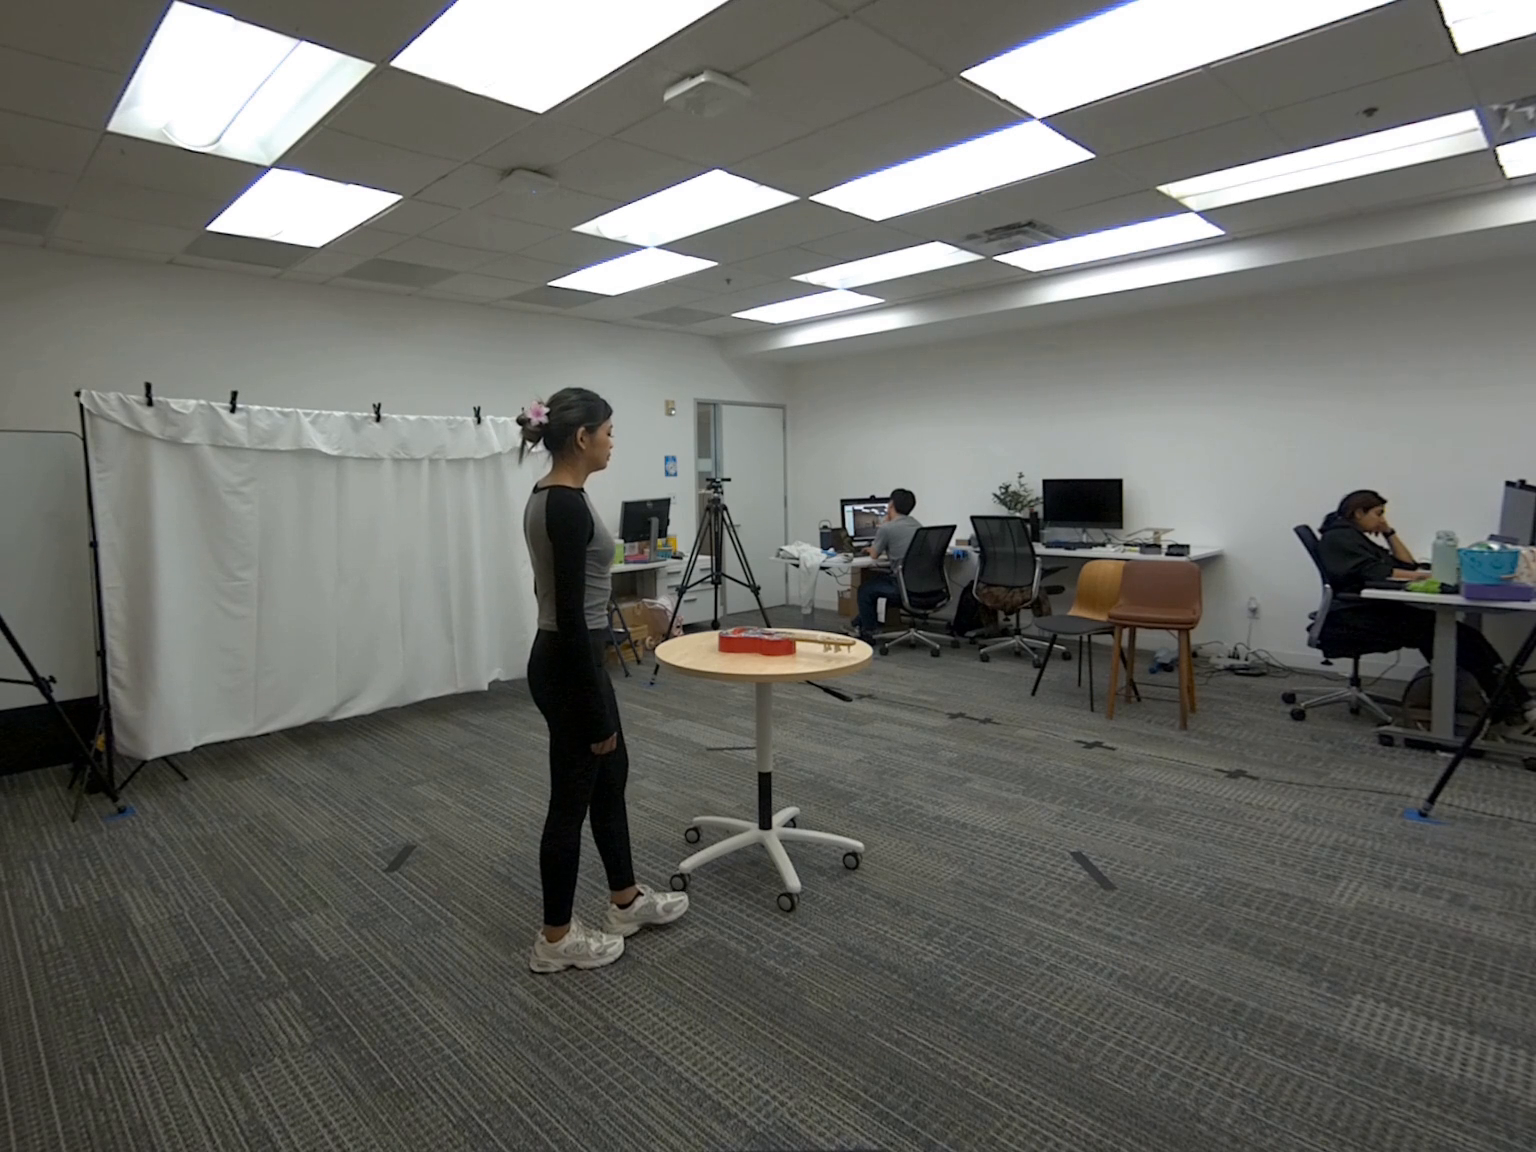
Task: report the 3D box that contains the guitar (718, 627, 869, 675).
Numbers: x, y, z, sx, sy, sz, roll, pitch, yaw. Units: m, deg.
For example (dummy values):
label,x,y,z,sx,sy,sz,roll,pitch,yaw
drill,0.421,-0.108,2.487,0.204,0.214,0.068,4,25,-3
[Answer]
label,x,y,z,sx,sy,sz,roll,pitch,yaw
guitar,0.049,0.237,2.927,0.513,0.070,0.188,4,9,38
